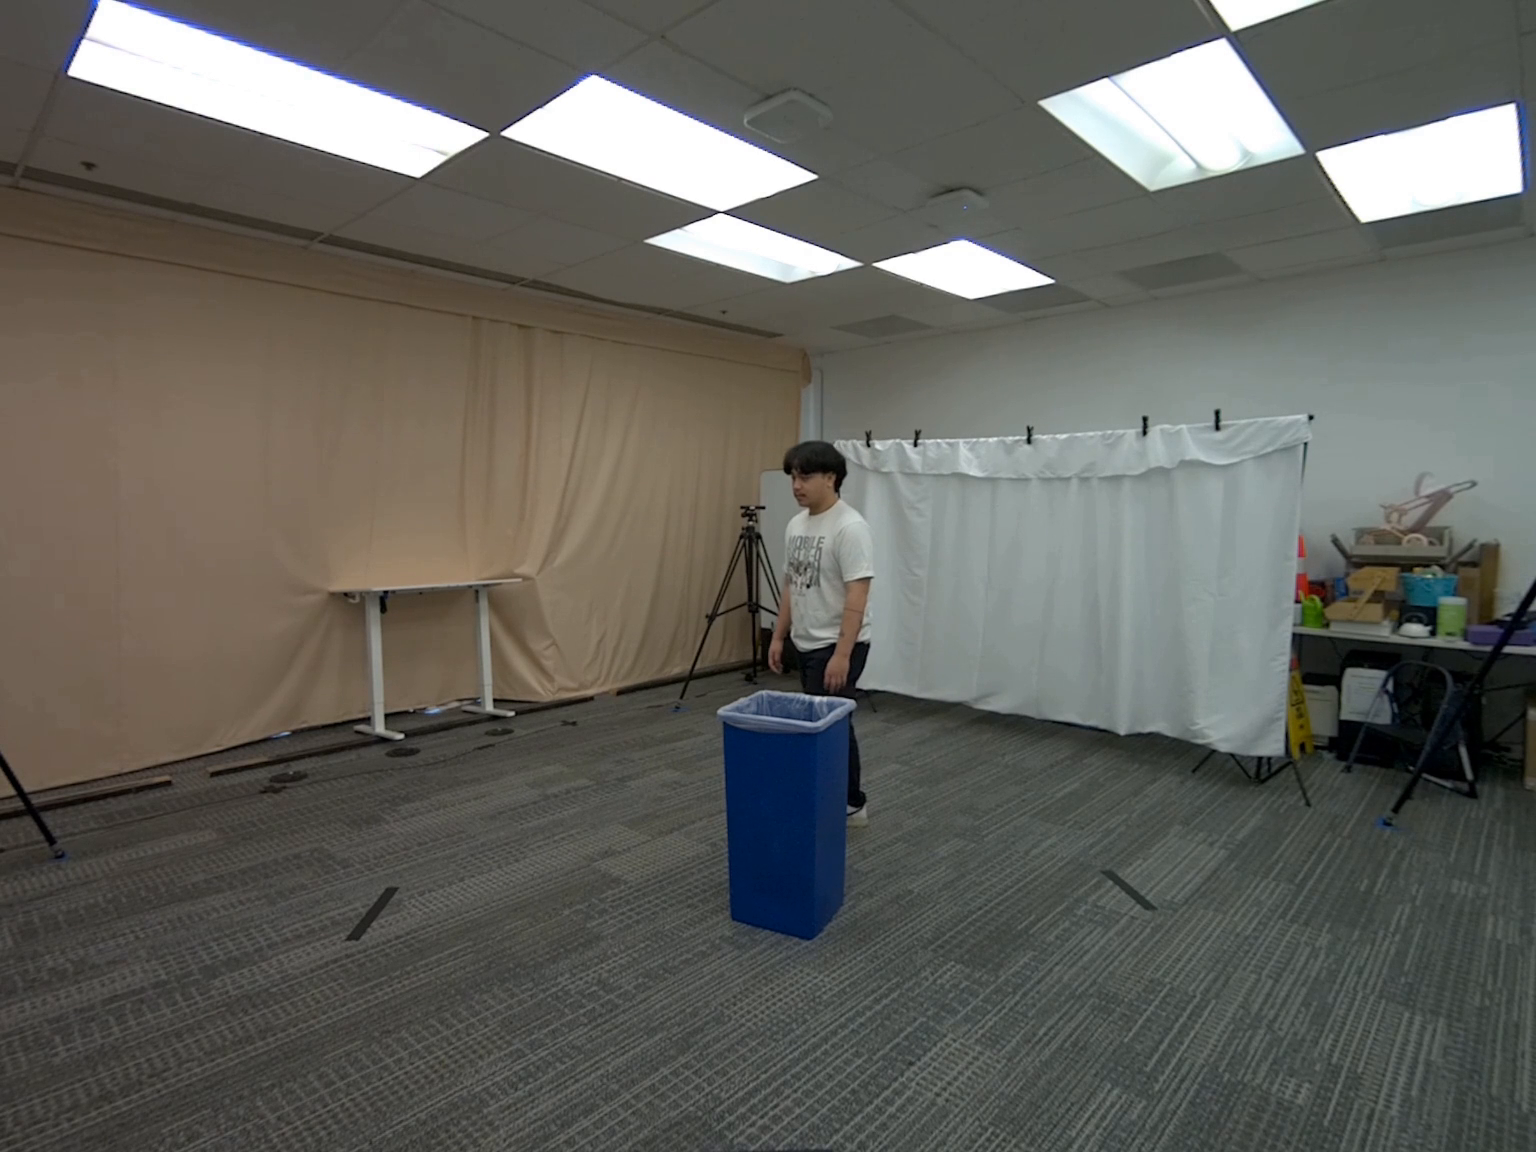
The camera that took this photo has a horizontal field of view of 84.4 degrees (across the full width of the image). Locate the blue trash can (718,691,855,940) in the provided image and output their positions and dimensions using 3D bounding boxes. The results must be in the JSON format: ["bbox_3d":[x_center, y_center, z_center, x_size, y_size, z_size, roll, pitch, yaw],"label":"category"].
[{"bbox_3d":[0.068,0.794,2.866,0.388,0.712,0.365,1,3,26],"label":"blue trash can"}]
